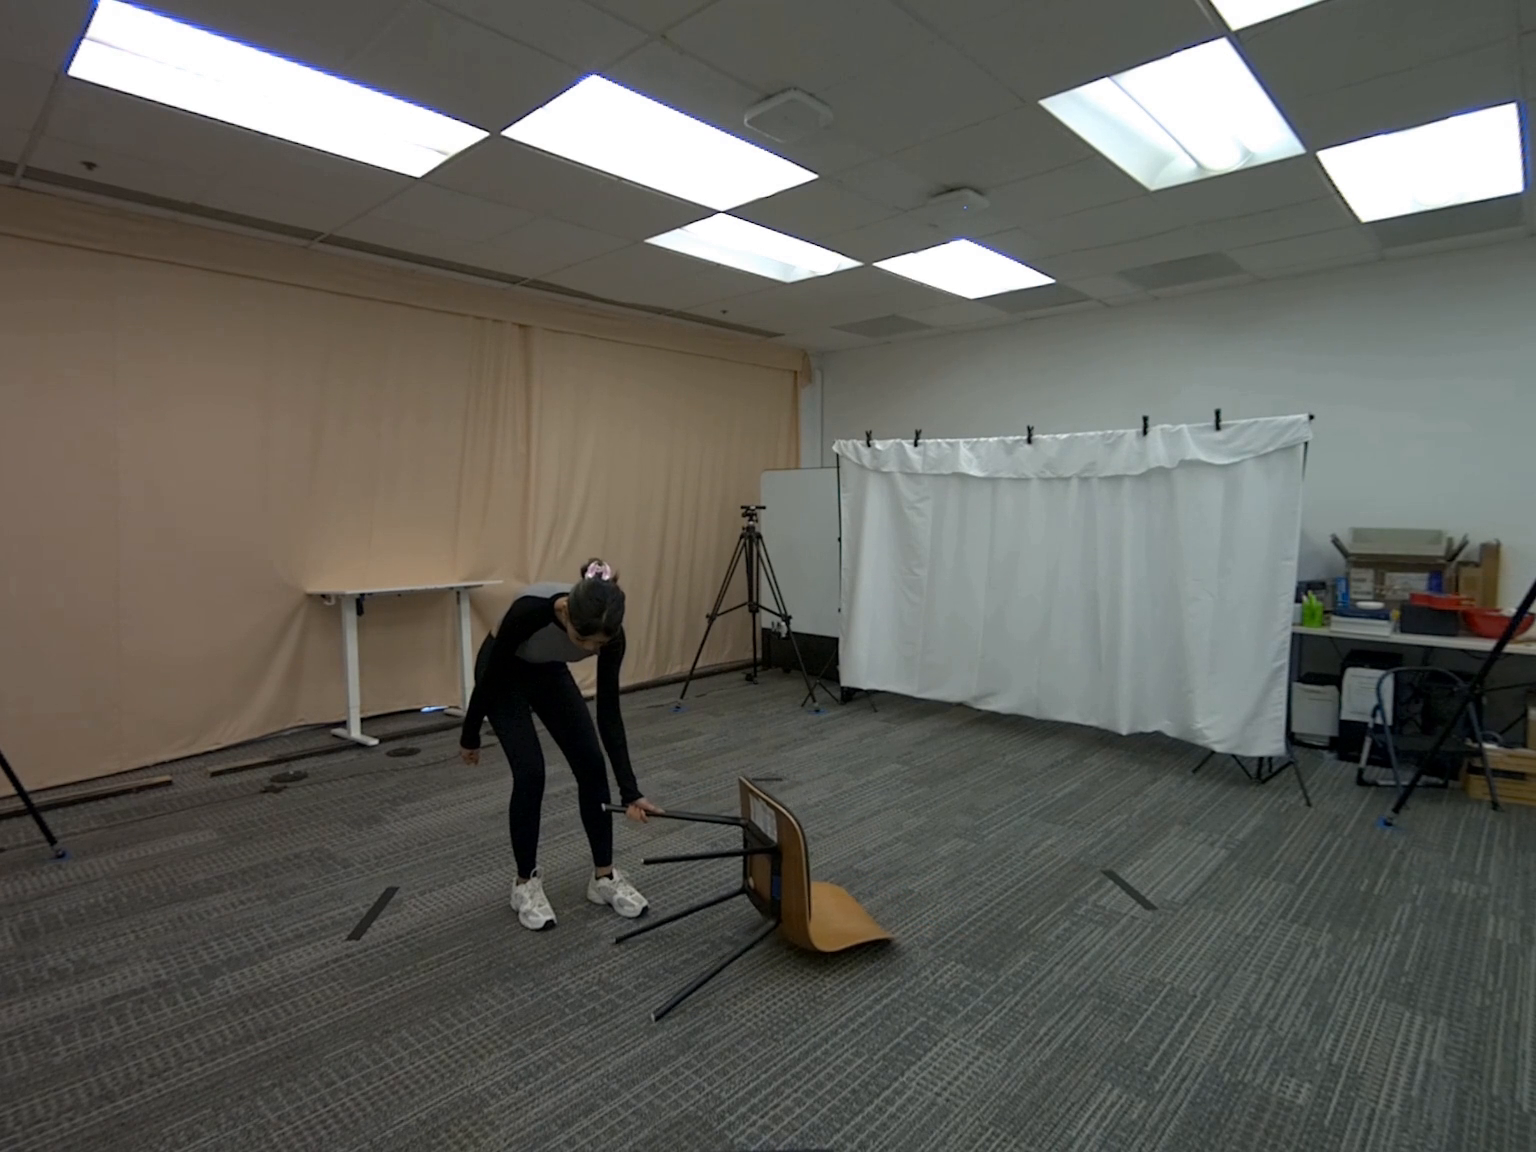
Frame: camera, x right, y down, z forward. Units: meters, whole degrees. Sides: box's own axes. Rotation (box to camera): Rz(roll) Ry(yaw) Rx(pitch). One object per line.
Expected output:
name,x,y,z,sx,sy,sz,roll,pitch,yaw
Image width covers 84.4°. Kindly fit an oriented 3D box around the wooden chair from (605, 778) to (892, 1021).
wooden chair,-0.017,0.914,2.608,0.859,0.522,0.489,-1,4,-21
